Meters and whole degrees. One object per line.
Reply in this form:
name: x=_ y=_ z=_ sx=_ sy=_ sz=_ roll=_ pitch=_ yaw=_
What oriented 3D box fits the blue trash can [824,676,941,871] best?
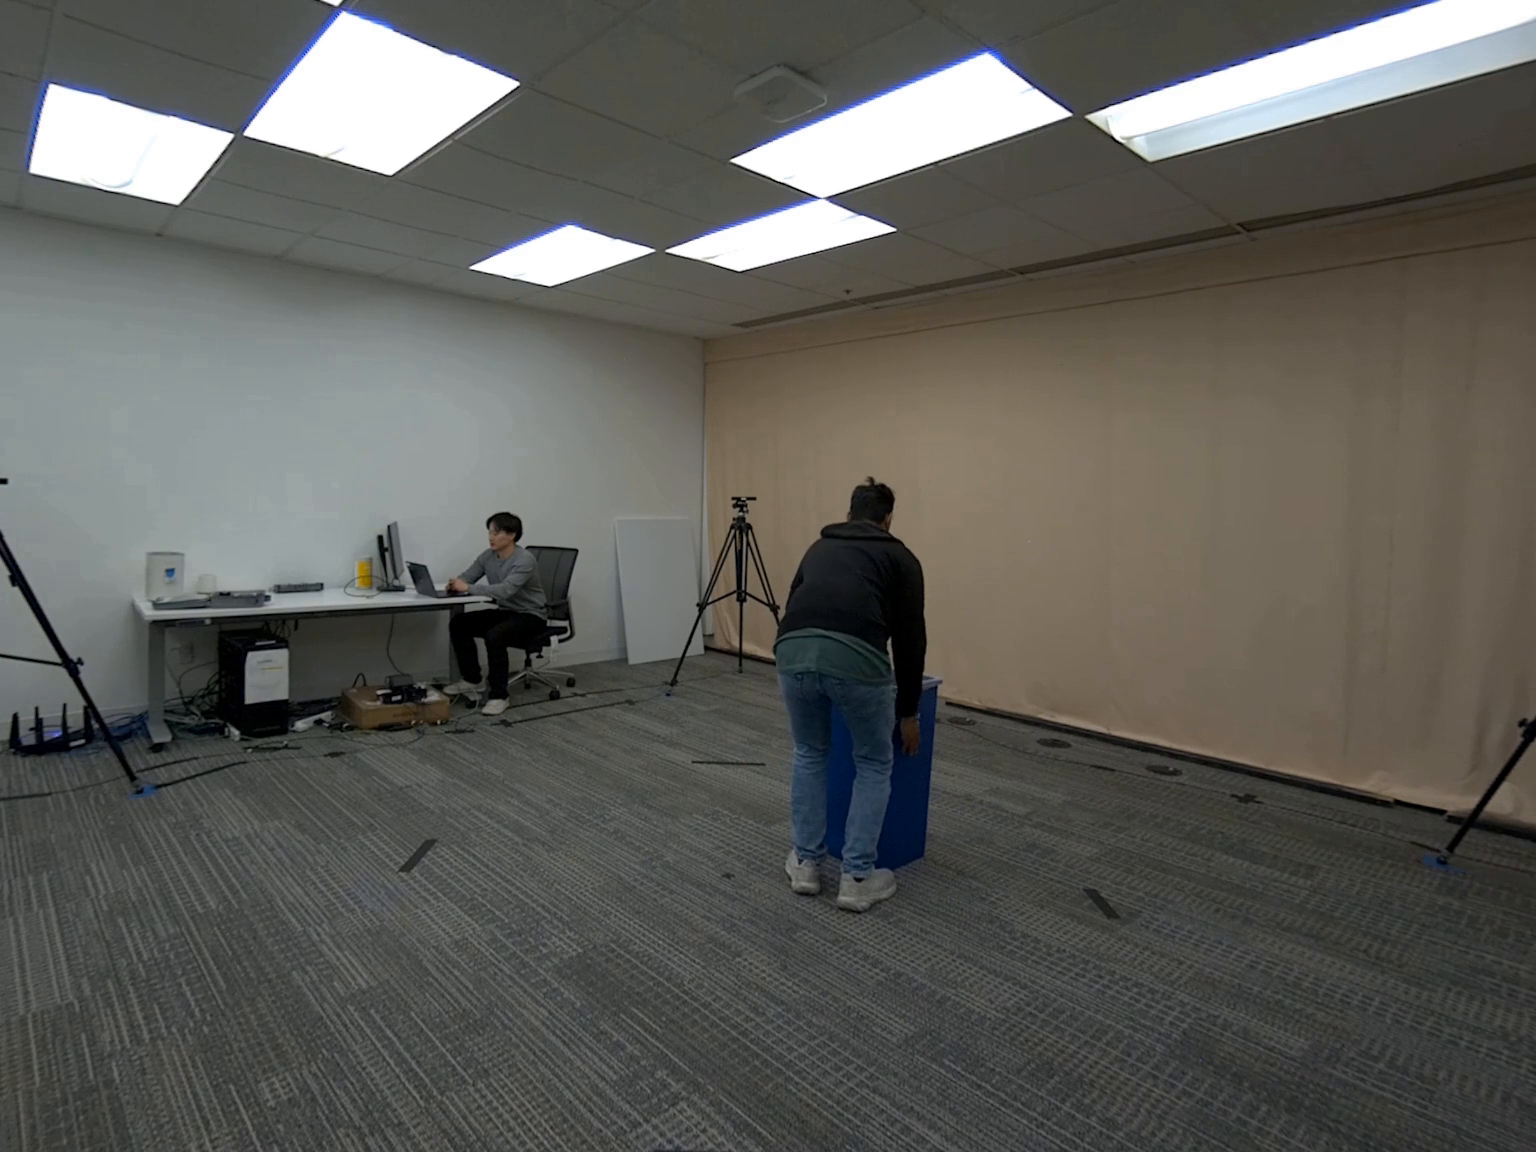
blue trash can: x=0.424 y=0.745 z=3.336 sx=0.365 sy=0.712 sz=0.388 roll=-1 pitch=4 yaw=-44
